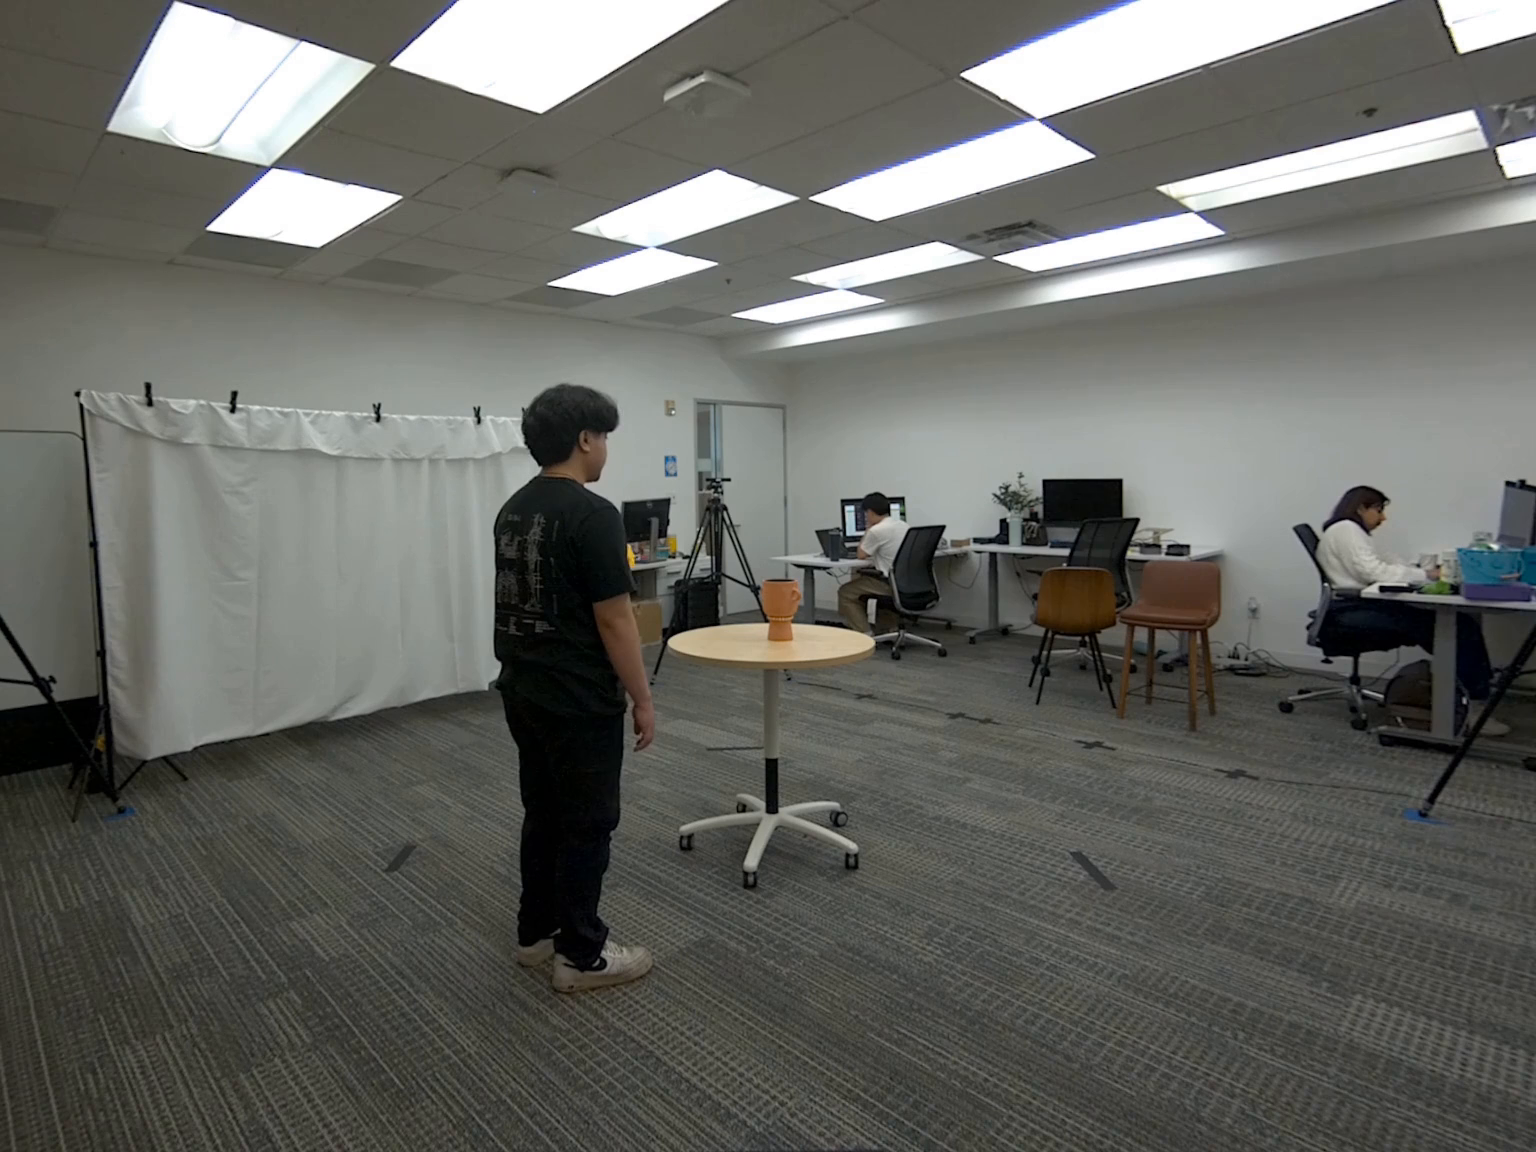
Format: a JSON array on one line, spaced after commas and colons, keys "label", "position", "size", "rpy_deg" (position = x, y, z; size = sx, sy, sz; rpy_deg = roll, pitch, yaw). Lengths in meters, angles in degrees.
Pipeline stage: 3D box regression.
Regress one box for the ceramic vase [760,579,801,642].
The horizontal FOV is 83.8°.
[{"label": "ceramic vase", "position": [0.051, 0.128, 3.199], "size": [0.134, 0.219, 0.160], "rpy_deg": [-1, 3, -7]}]
